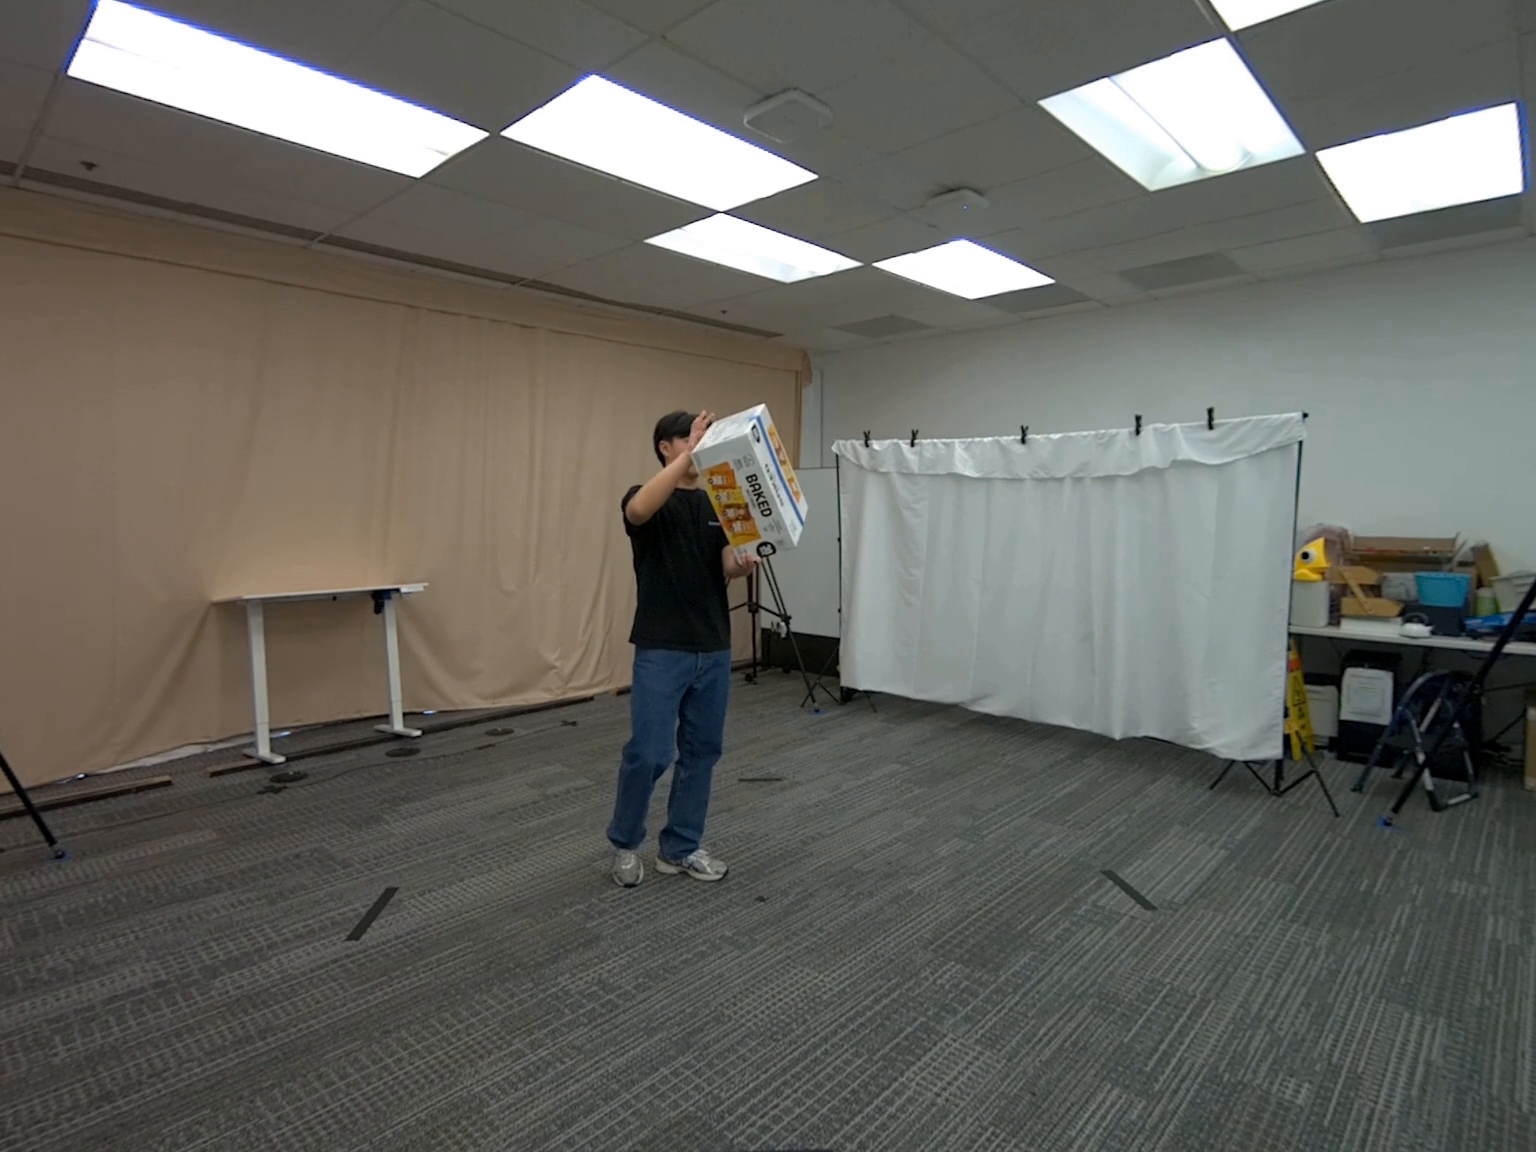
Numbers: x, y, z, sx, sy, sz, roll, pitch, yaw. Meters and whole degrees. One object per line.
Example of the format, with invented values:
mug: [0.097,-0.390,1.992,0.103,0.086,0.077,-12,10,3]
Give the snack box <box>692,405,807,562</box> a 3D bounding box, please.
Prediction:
snack box: [-0.055,-0.302,2.785,0.209,0.398,0.341,-17,21,18]
